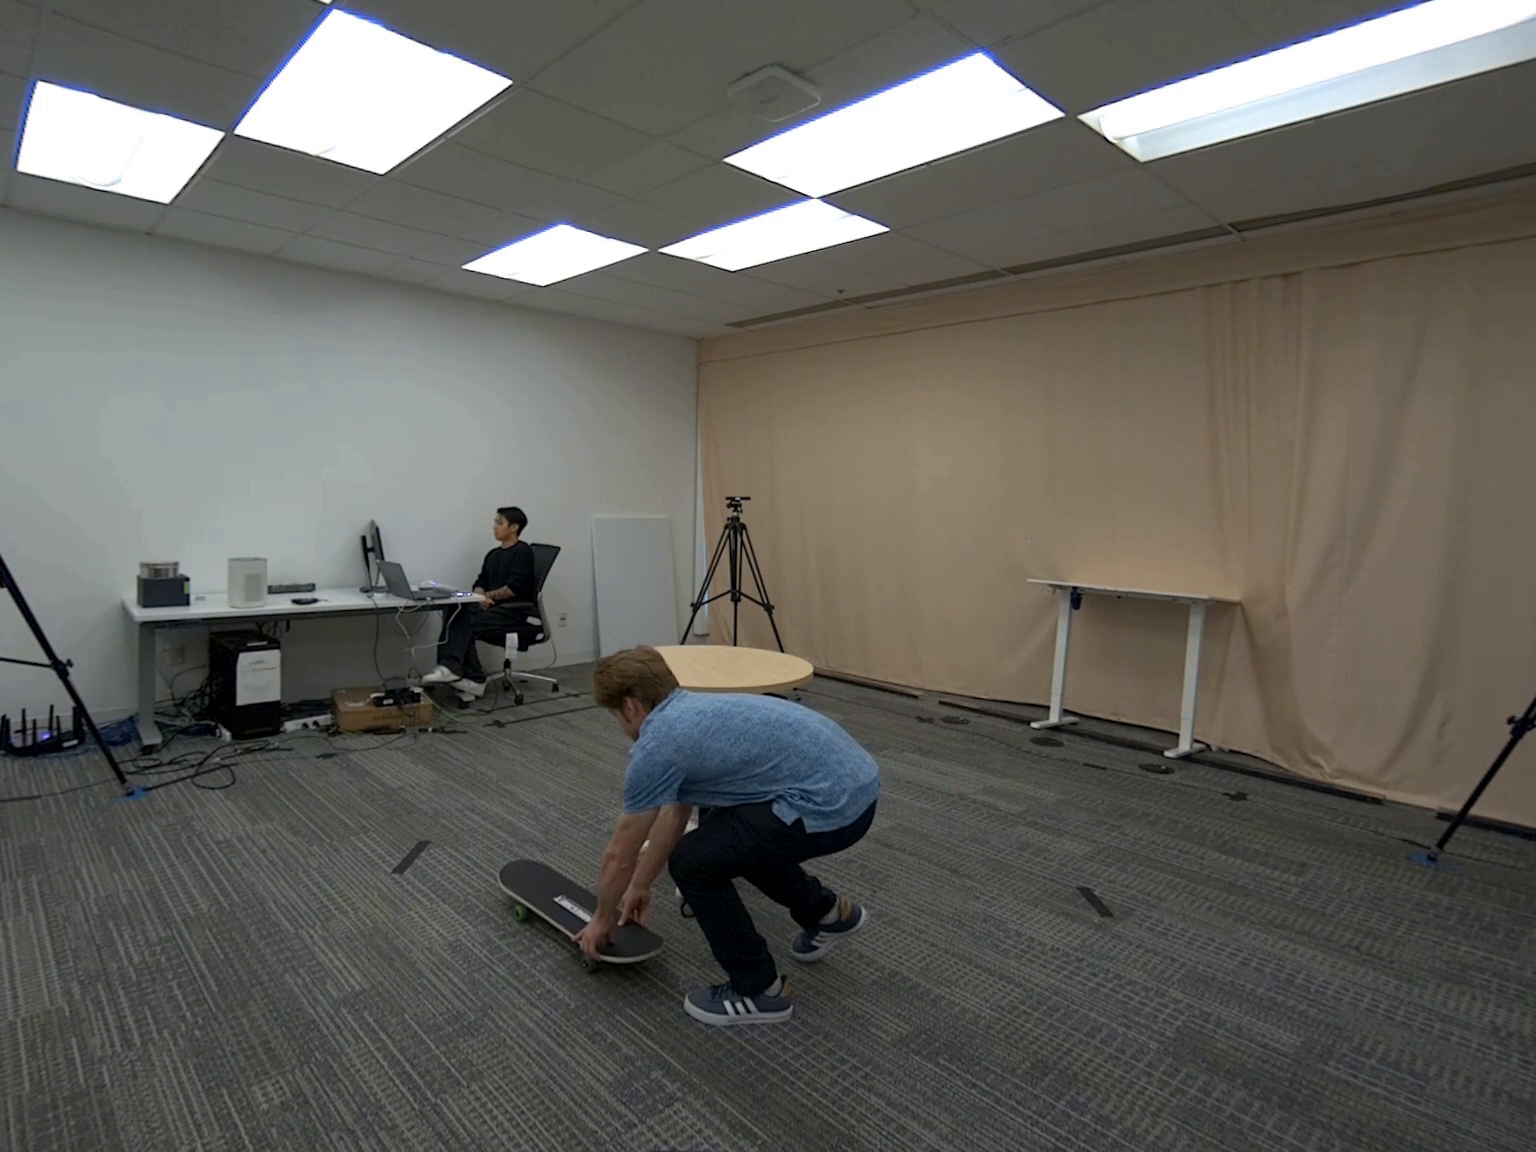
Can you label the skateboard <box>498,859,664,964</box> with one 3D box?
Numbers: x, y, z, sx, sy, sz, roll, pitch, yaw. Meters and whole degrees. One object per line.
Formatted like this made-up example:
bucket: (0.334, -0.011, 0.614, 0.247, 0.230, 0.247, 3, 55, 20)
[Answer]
skateboard: (-0.616, 1.082, 2.654, 0.806, 0.110, 0.189, 6, 6, 45)
